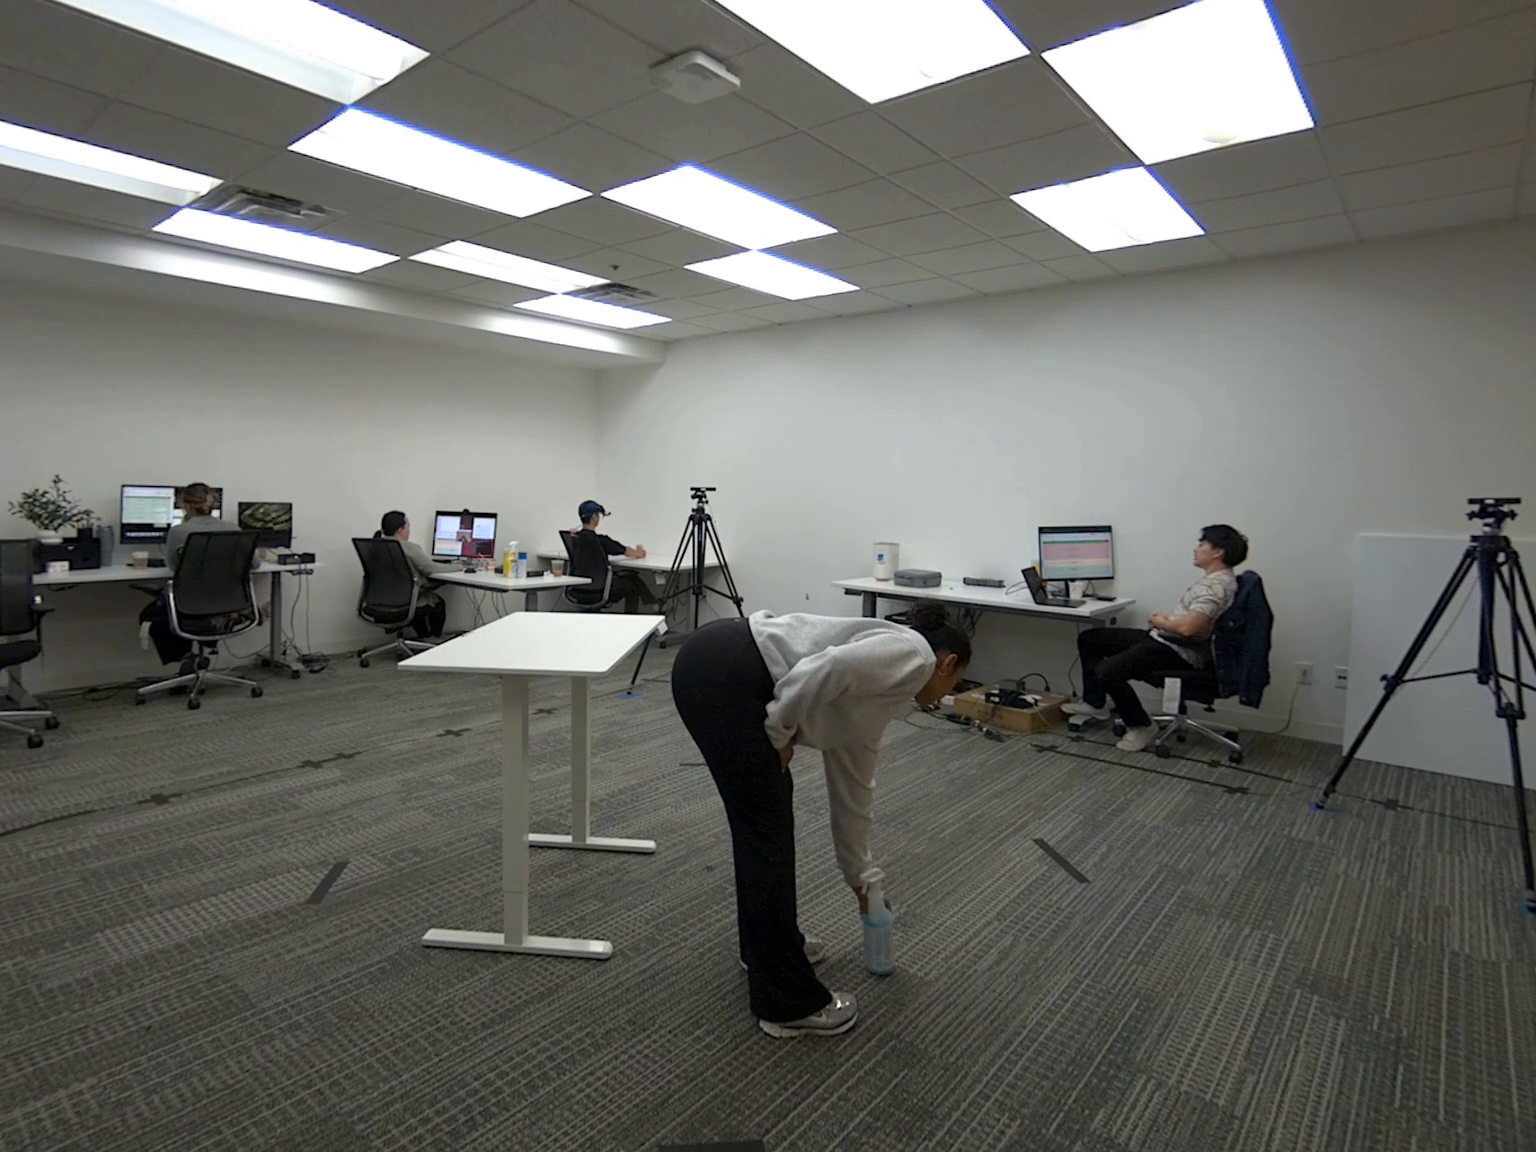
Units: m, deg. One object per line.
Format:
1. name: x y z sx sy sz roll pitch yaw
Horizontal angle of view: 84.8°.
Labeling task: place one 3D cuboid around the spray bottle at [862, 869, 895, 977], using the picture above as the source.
1. spray bottle: 0.318 0.989 2.449 0.089 0.295 0.088 -5 8 -10
